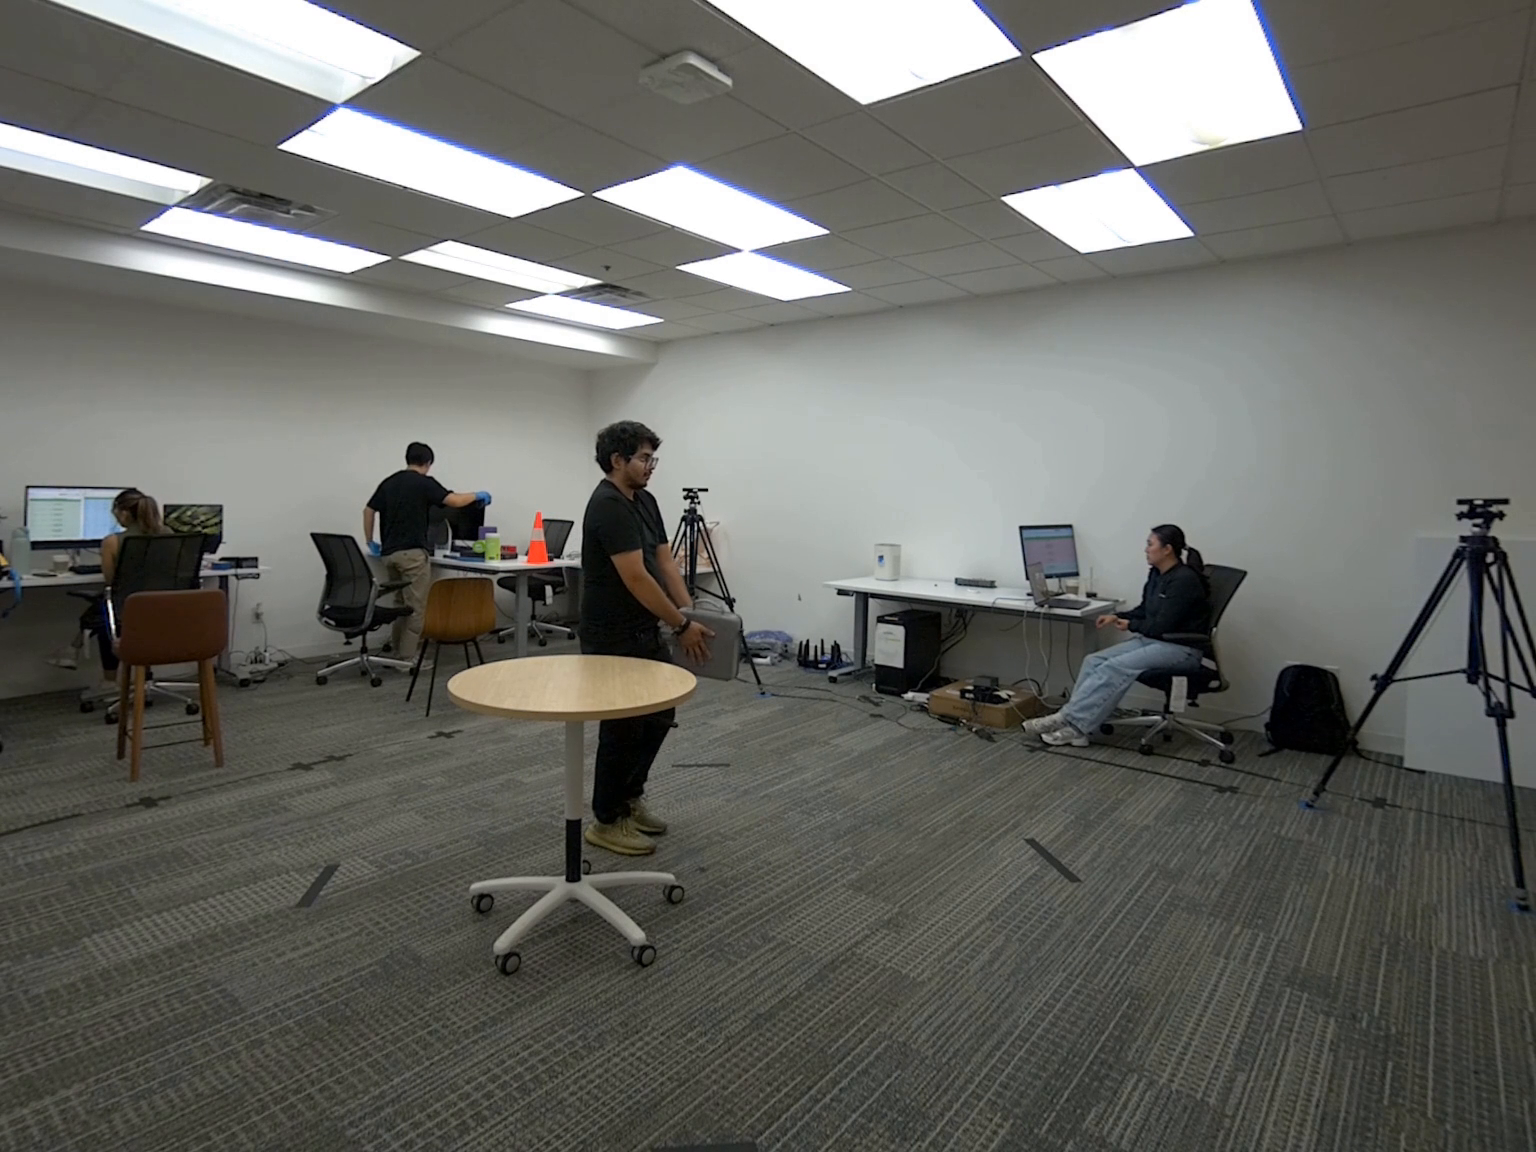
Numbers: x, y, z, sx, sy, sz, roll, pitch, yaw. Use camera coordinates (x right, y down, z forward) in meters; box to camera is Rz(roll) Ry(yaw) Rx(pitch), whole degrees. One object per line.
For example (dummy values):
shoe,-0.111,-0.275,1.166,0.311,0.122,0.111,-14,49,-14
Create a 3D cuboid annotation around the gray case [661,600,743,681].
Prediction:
gray case,-0.234,0.254,3.225,0.261,0.258,0.103,6,10,15
